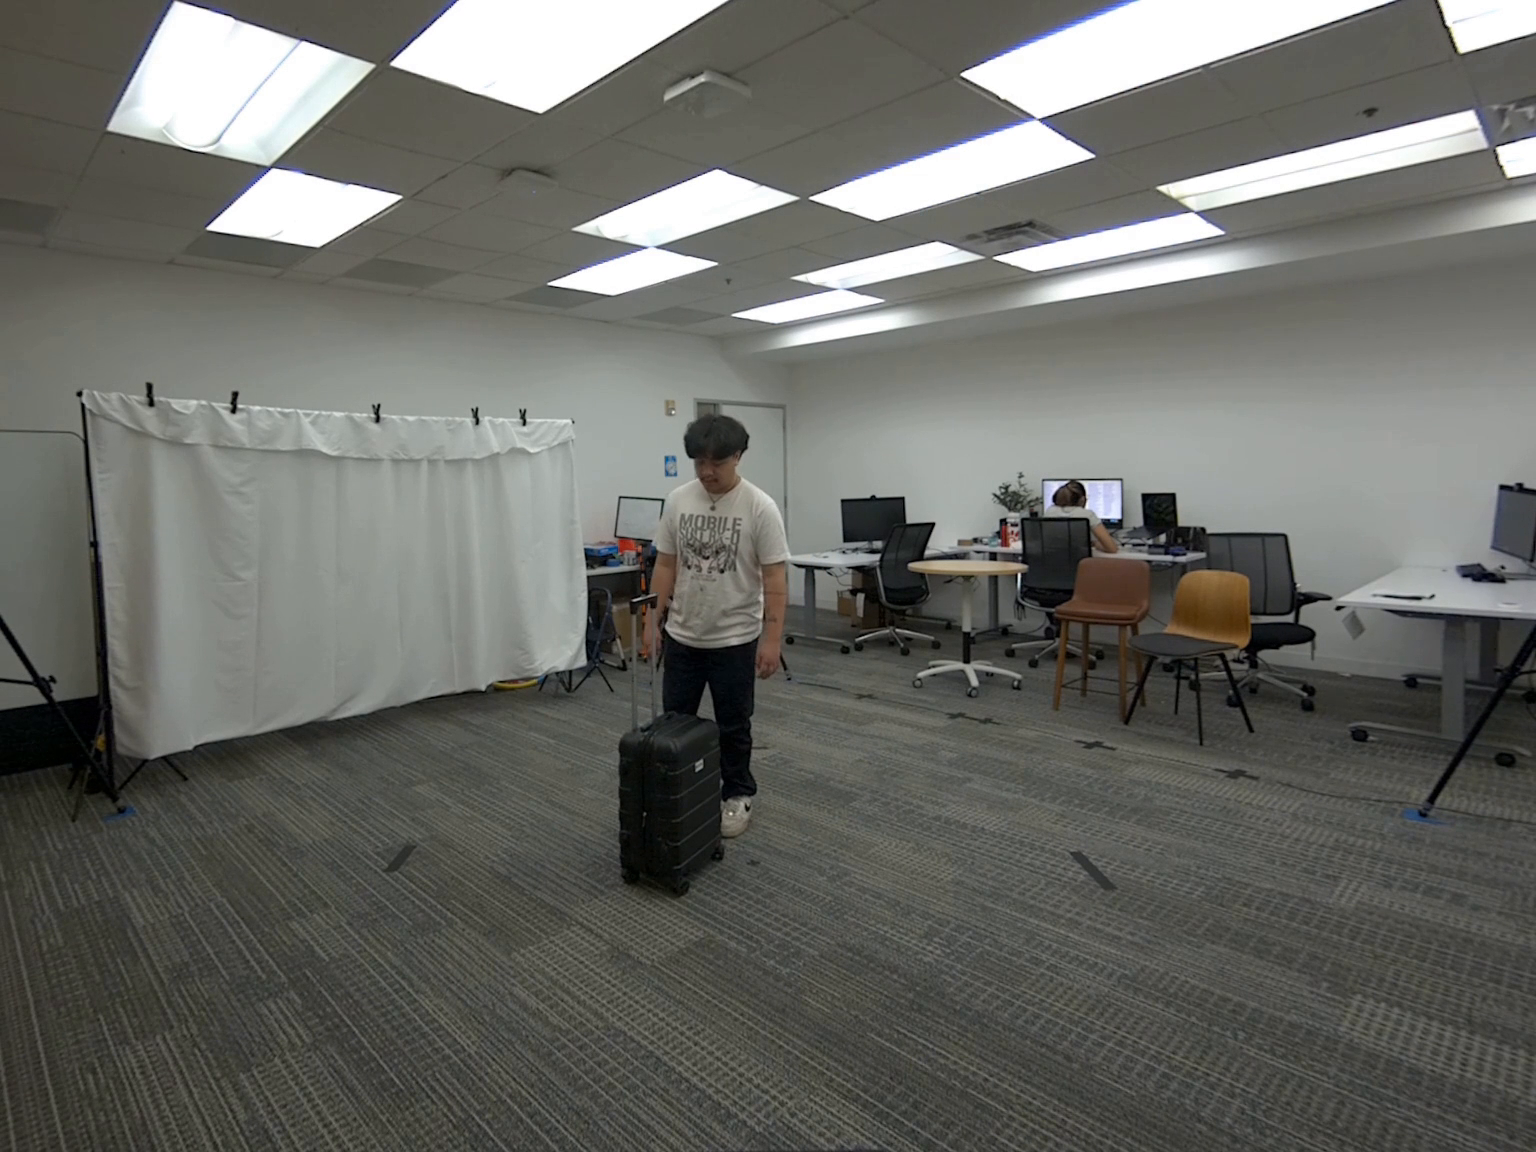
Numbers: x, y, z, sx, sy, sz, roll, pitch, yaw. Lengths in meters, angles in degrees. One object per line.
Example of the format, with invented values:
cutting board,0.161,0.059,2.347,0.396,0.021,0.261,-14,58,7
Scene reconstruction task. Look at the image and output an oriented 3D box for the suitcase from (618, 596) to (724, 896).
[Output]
suitcase,-0.345,0.587,3.009,0.263,0.973,0.377,3,7,26
